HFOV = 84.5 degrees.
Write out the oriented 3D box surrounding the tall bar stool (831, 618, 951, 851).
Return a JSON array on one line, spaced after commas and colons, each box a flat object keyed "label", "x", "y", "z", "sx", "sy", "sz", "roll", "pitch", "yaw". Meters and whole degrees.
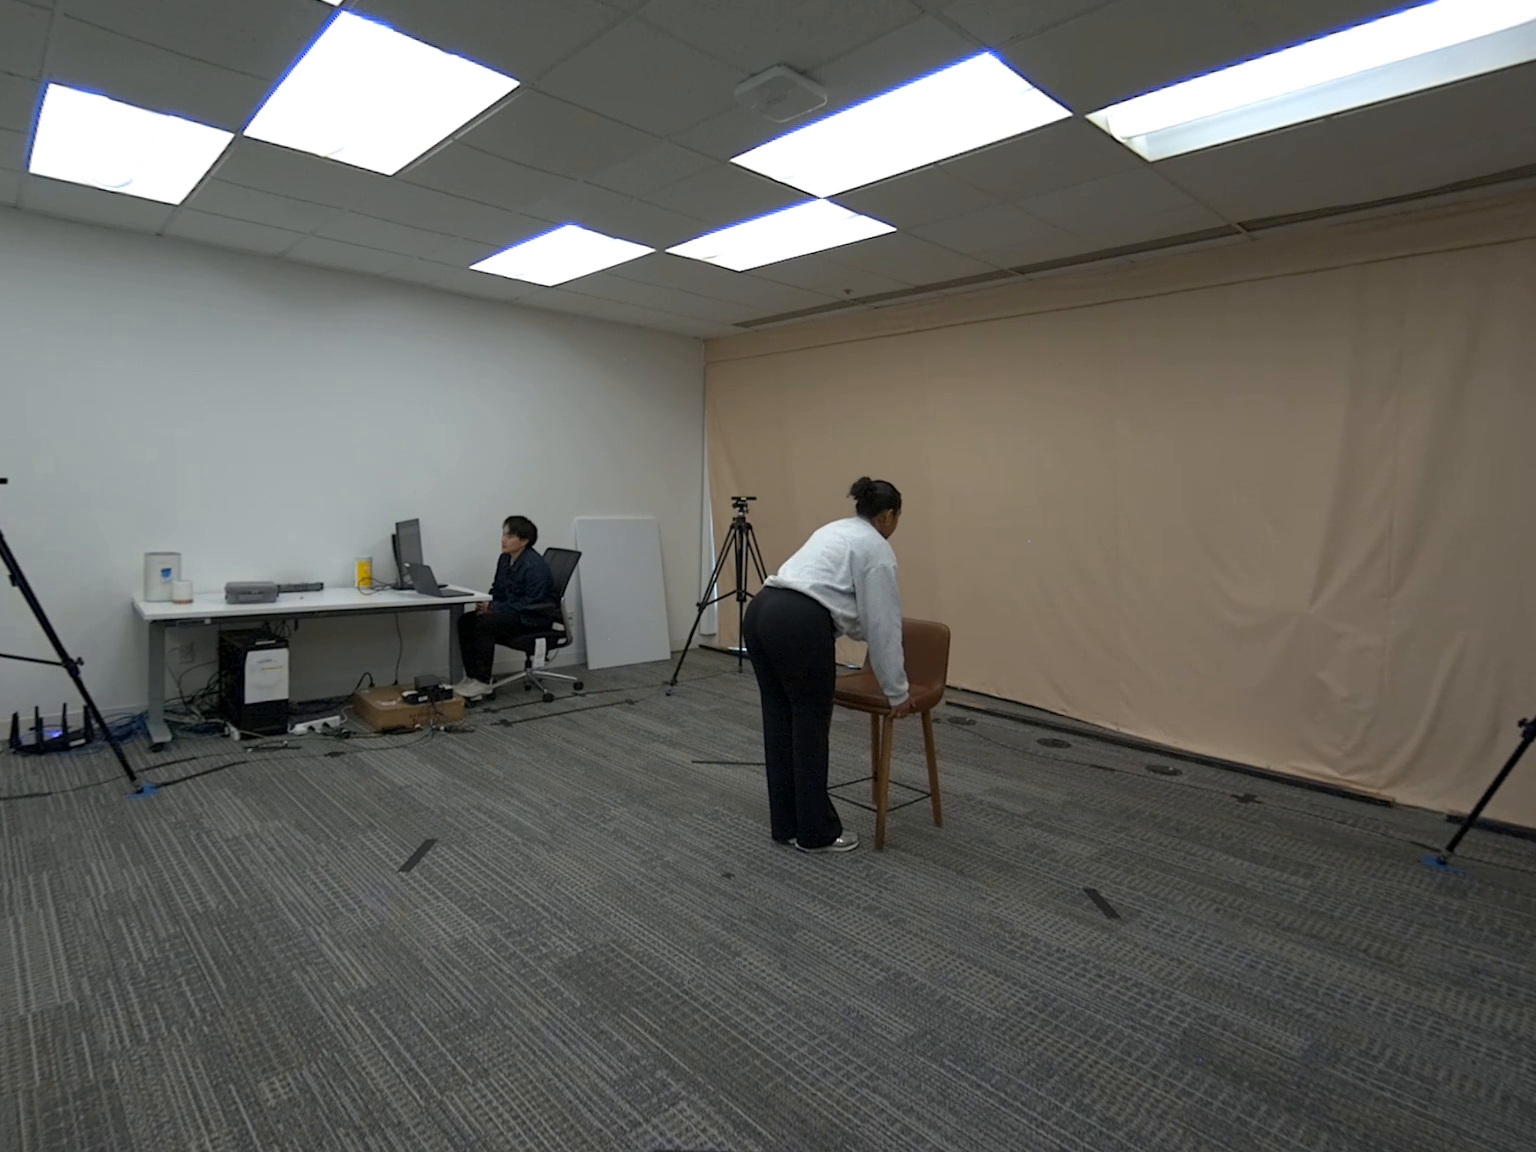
[{"label": "tall bar stool", "x": 0.475, "y": 0.632, "z": 3.624, "sx": 0.456, "sy": 0.889, "sz": 0.468, "roll": 1, "pitch": 2, "yaw": -42}]
